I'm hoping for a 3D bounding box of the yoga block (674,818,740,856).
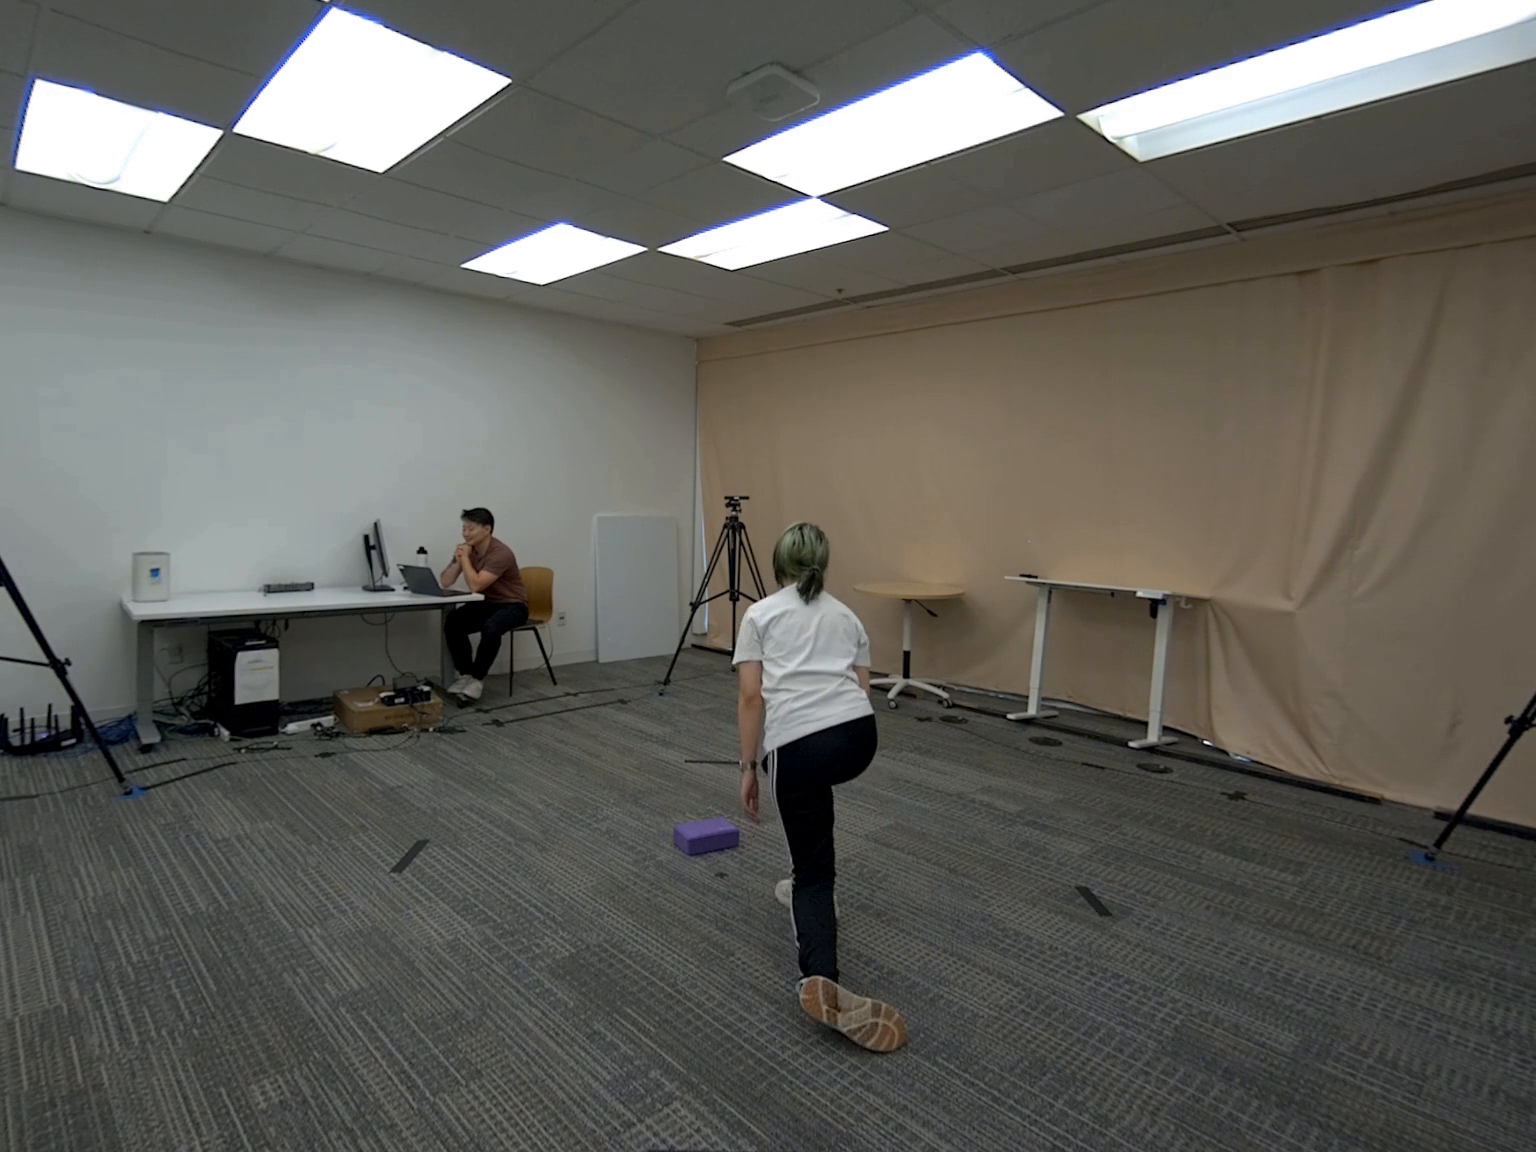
[{"bbox_3d":[-0.255,1.040,3.369,0.225,0.076,0.152,-3,6,-30],"label":"yoga block"}]
